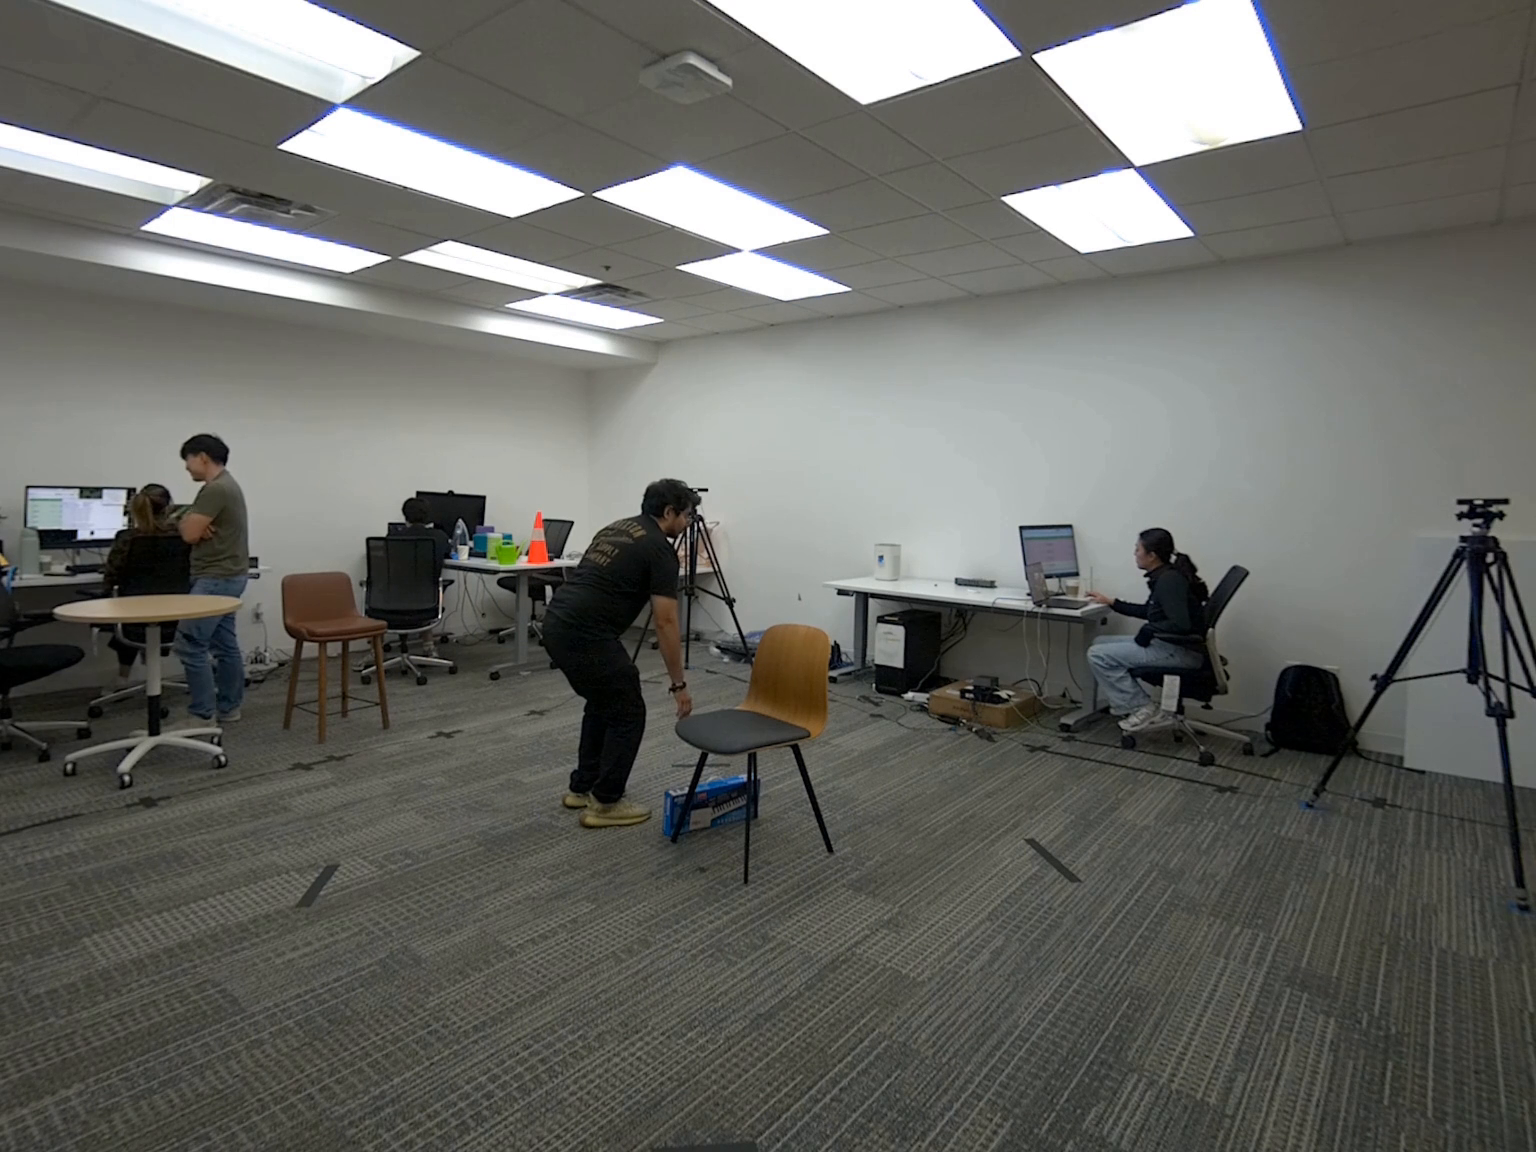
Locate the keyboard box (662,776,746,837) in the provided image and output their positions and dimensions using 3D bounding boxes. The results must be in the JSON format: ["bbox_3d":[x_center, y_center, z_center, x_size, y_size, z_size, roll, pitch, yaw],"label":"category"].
[{"bbox_3d":[-0.241,0.945,3.522,0.424,0.175,0.061,-3,10,-34],"label":"keyboard box"}]
